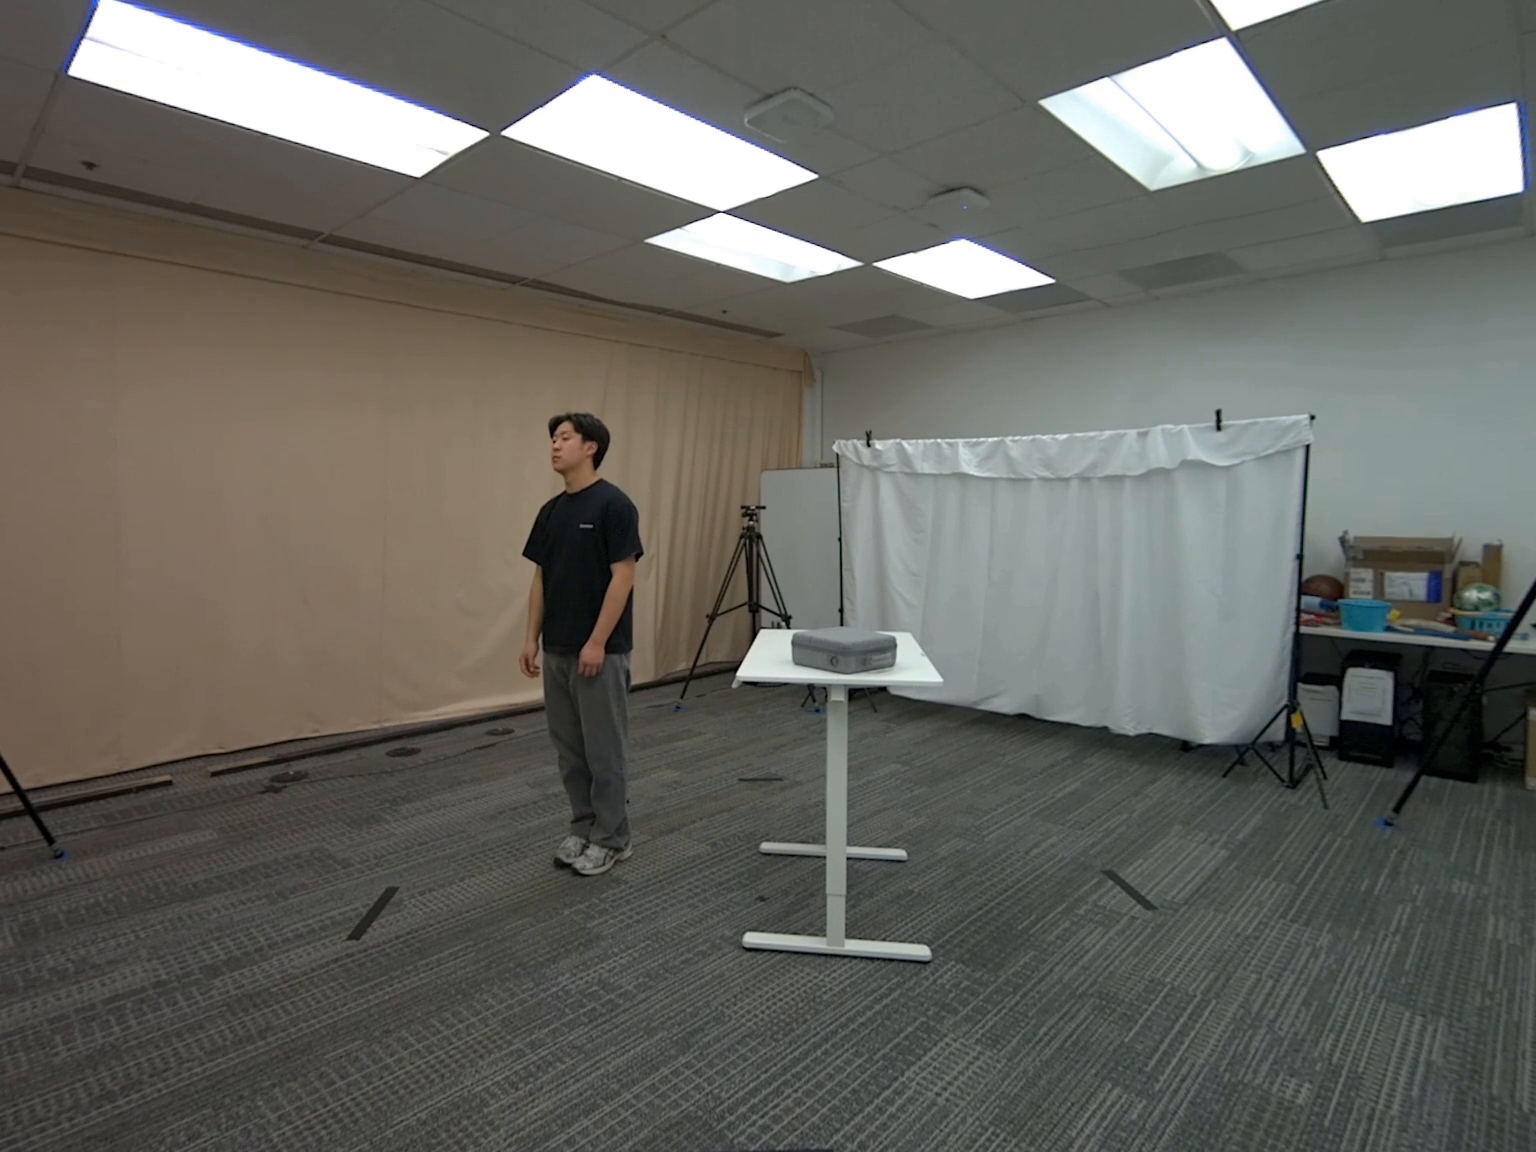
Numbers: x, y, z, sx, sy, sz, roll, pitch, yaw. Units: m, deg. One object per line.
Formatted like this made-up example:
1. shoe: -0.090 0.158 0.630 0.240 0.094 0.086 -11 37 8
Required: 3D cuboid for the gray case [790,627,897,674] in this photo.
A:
1. gray case: 0.257 0.234 2.652 0.255 0.103 0.297 -2 6 -41
